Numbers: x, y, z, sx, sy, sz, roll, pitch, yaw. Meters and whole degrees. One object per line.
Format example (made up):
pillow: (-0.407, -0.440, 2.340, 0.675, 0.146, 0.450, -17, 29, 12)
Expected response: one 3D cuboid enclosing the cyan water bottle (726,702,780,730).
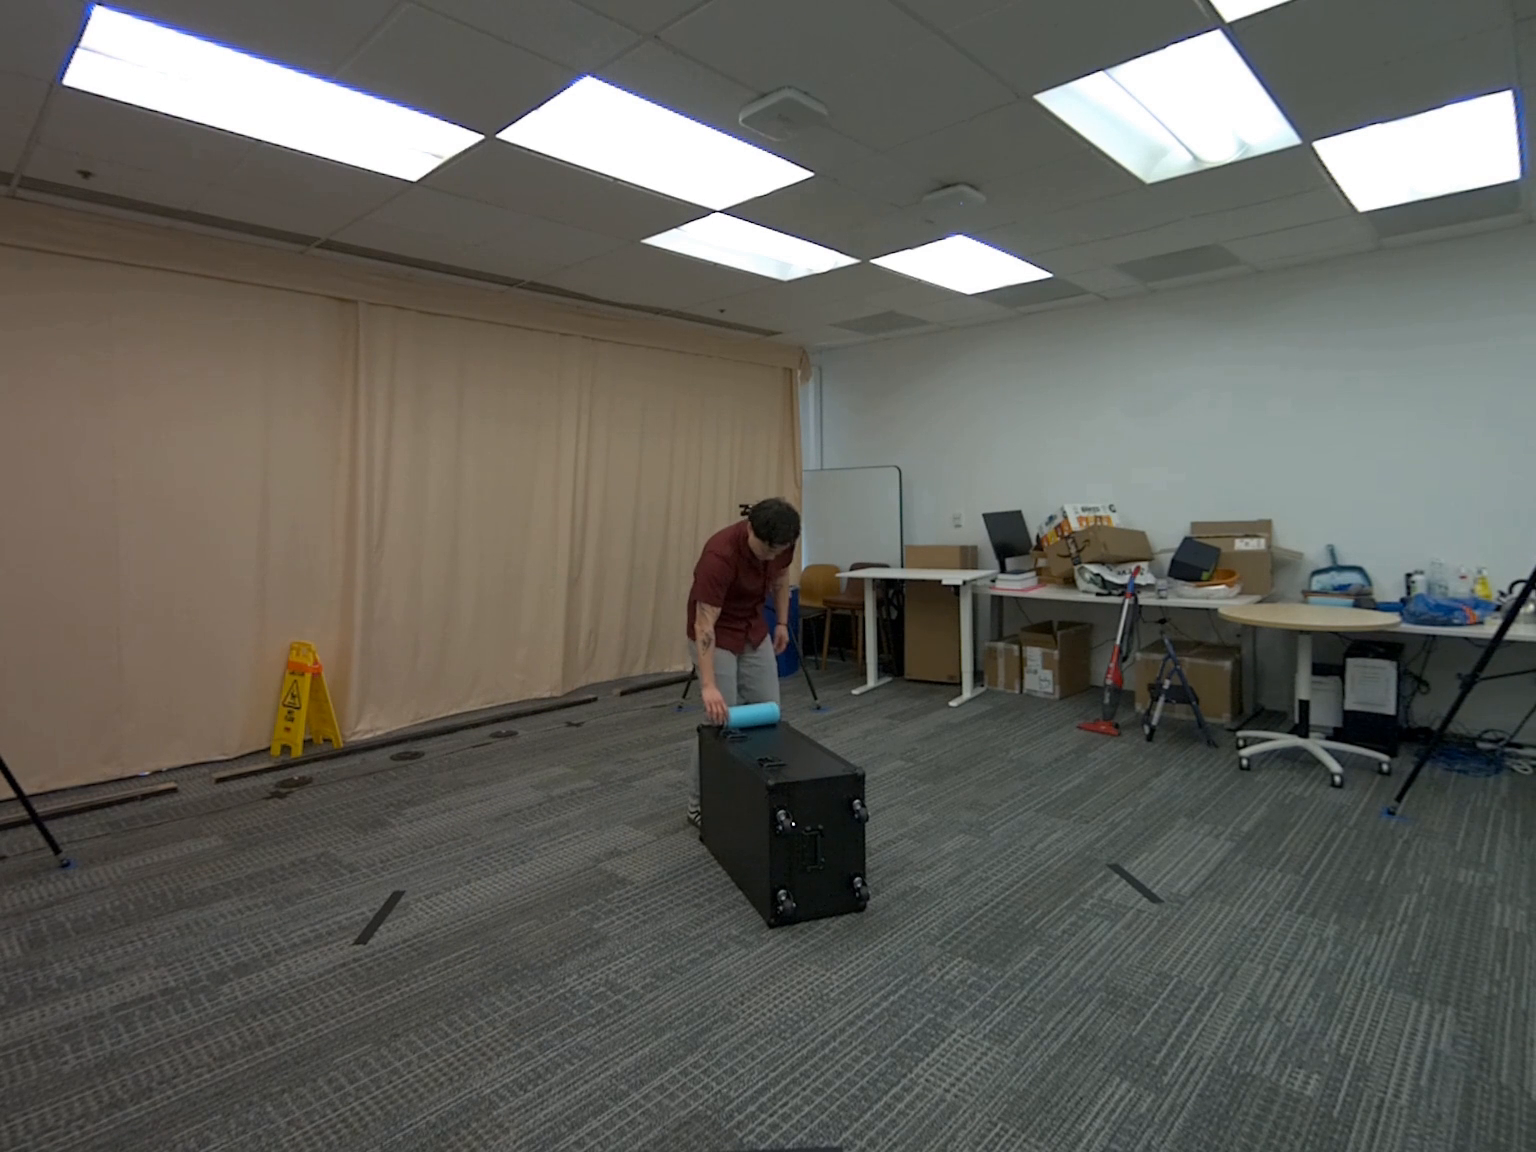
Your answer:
cyan water bottle: (-0.091, 0.565, 3.436, 0.278, 0.092, 0.094, -5, 5, -21)
